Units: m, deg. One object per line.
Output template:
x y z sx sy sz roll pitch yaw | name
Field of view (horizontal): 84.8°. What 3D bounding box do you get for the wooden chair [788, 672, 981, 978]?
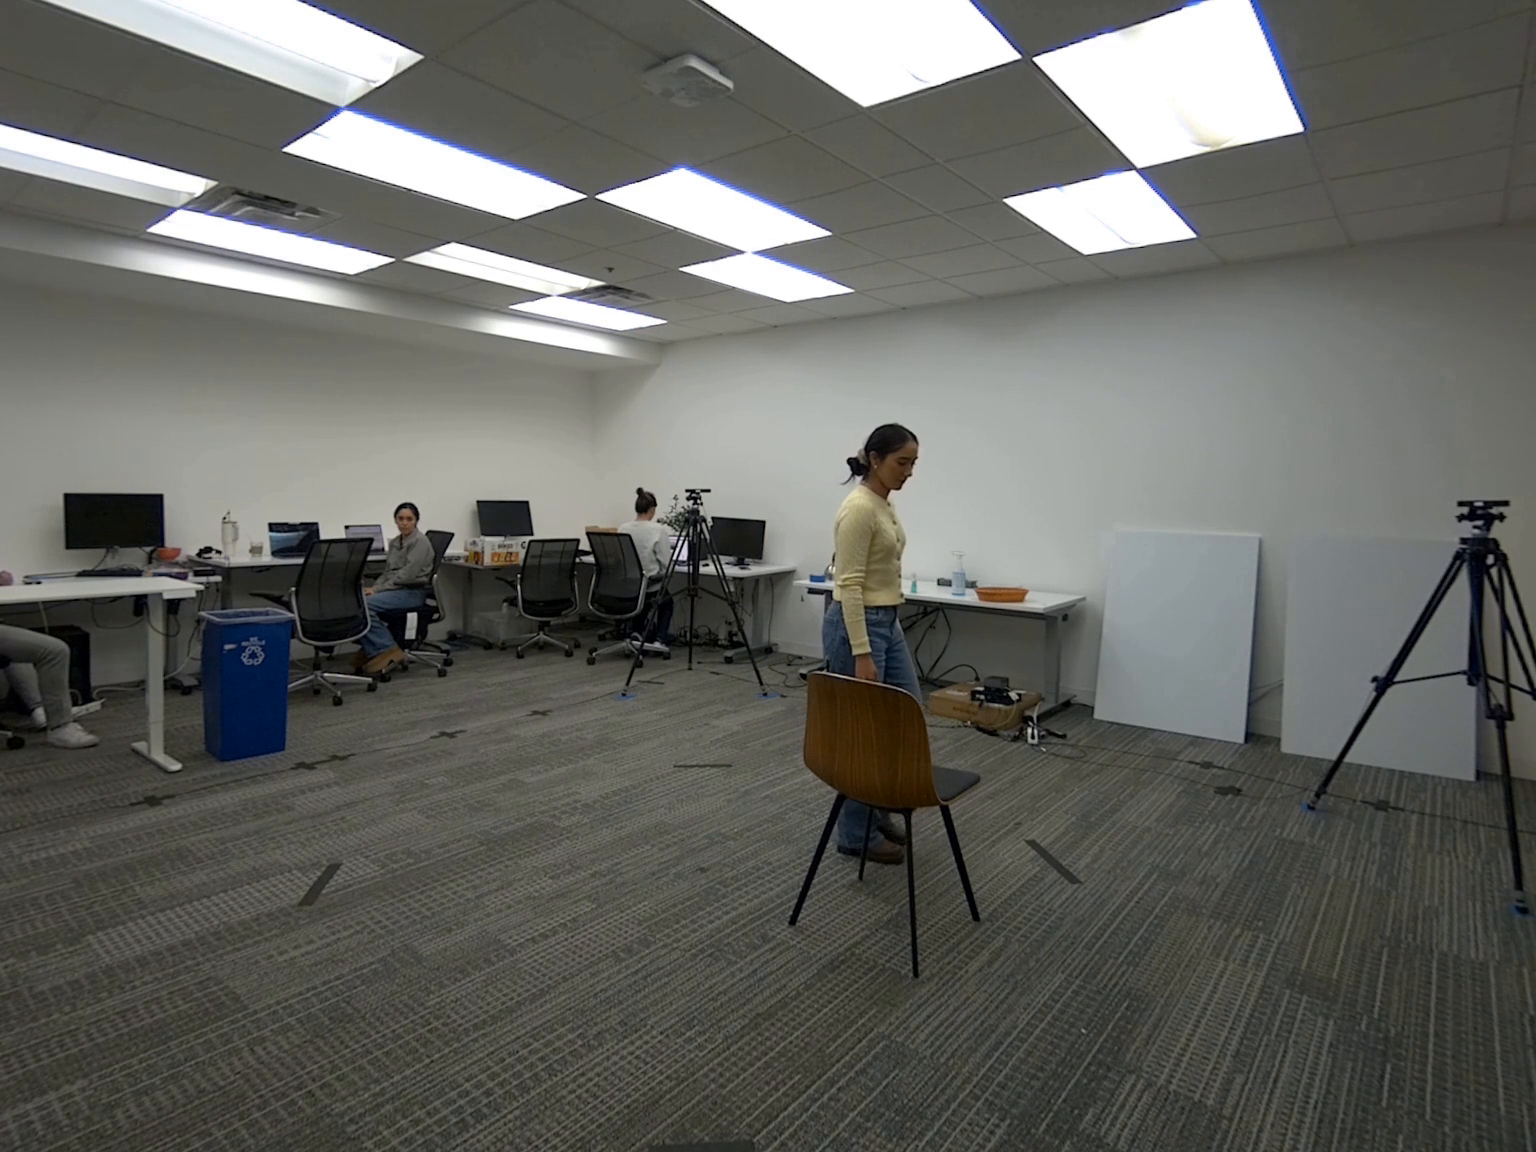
0.384 0.694 2.738 0.494 0.872 0.509 4 8 38 | wooden chair
